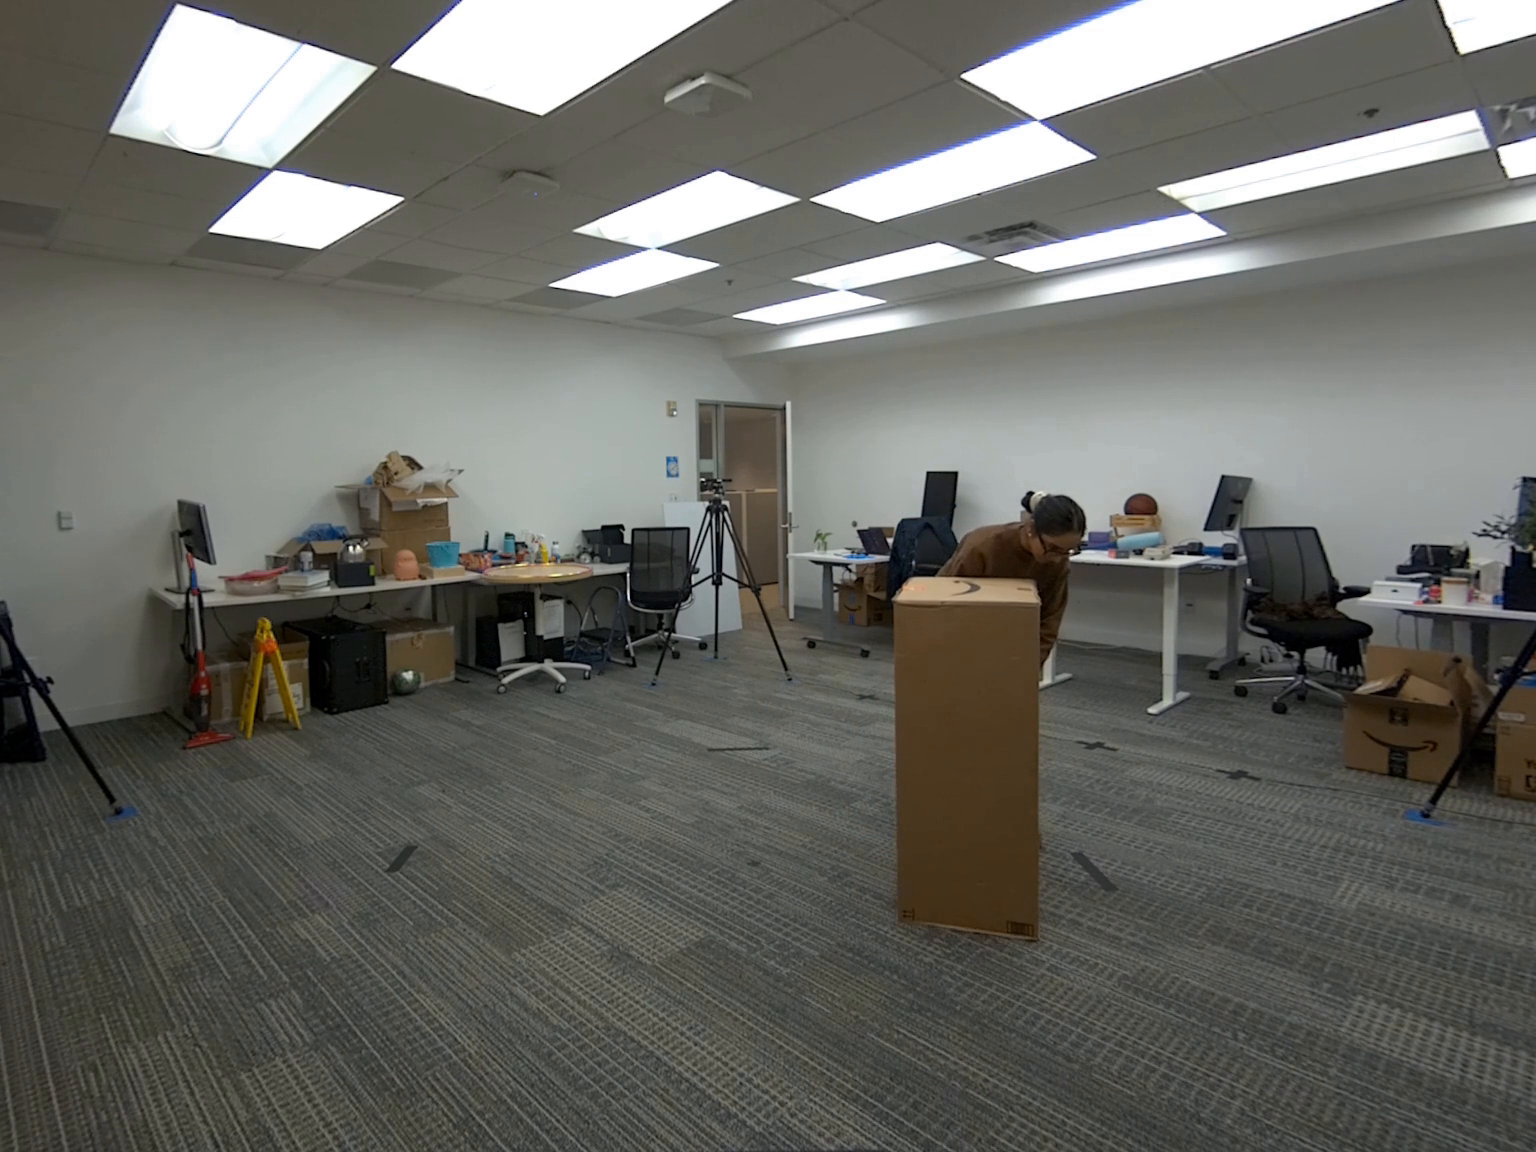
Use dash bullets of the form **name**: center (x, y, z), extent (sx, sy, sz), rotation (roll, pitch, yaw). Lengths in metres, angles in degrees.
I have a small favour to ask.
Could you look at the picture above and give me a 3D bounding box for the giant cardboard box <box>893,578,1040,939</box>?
- **giant cardboard box**: center (0.665, 0.553, 2.850), extent (0.433, 1.022, 0.571), rotation (0, 5, 16)
